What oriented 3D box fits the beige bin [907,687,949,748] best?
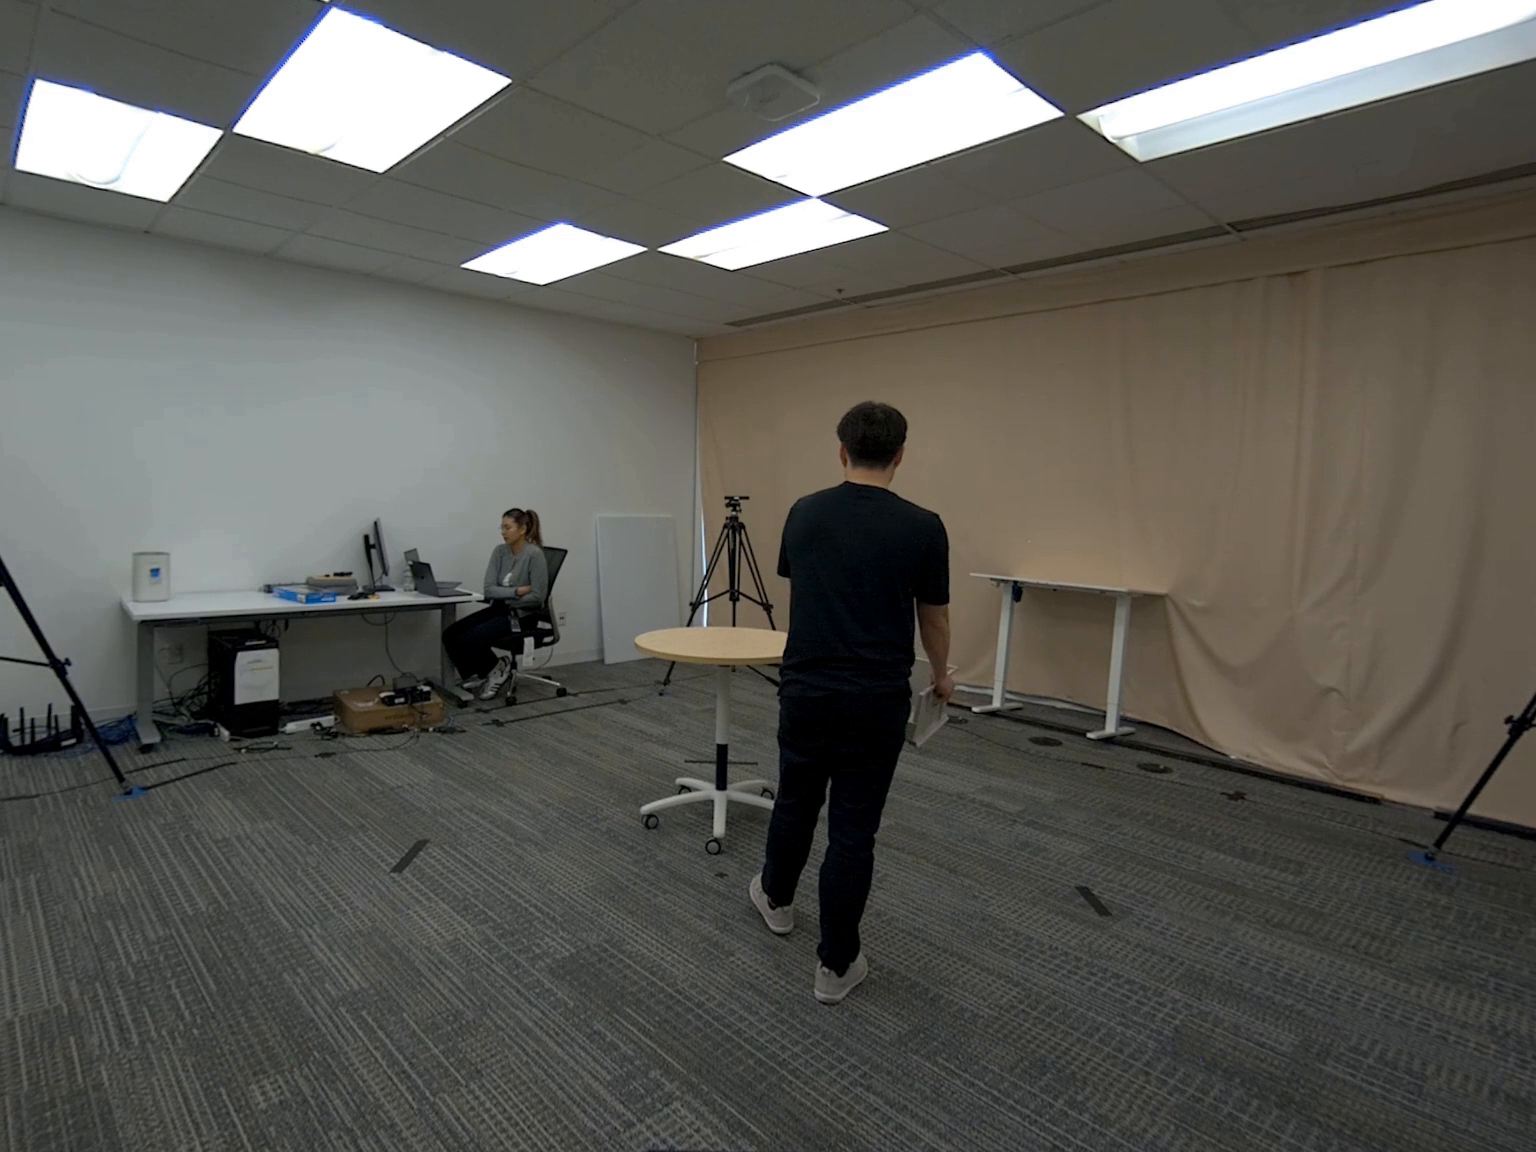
[{"bbox_3d":[0.339,0.378,2.732,0.432,0.188,0.371,10,11,29],"label":"beige bin"}]
